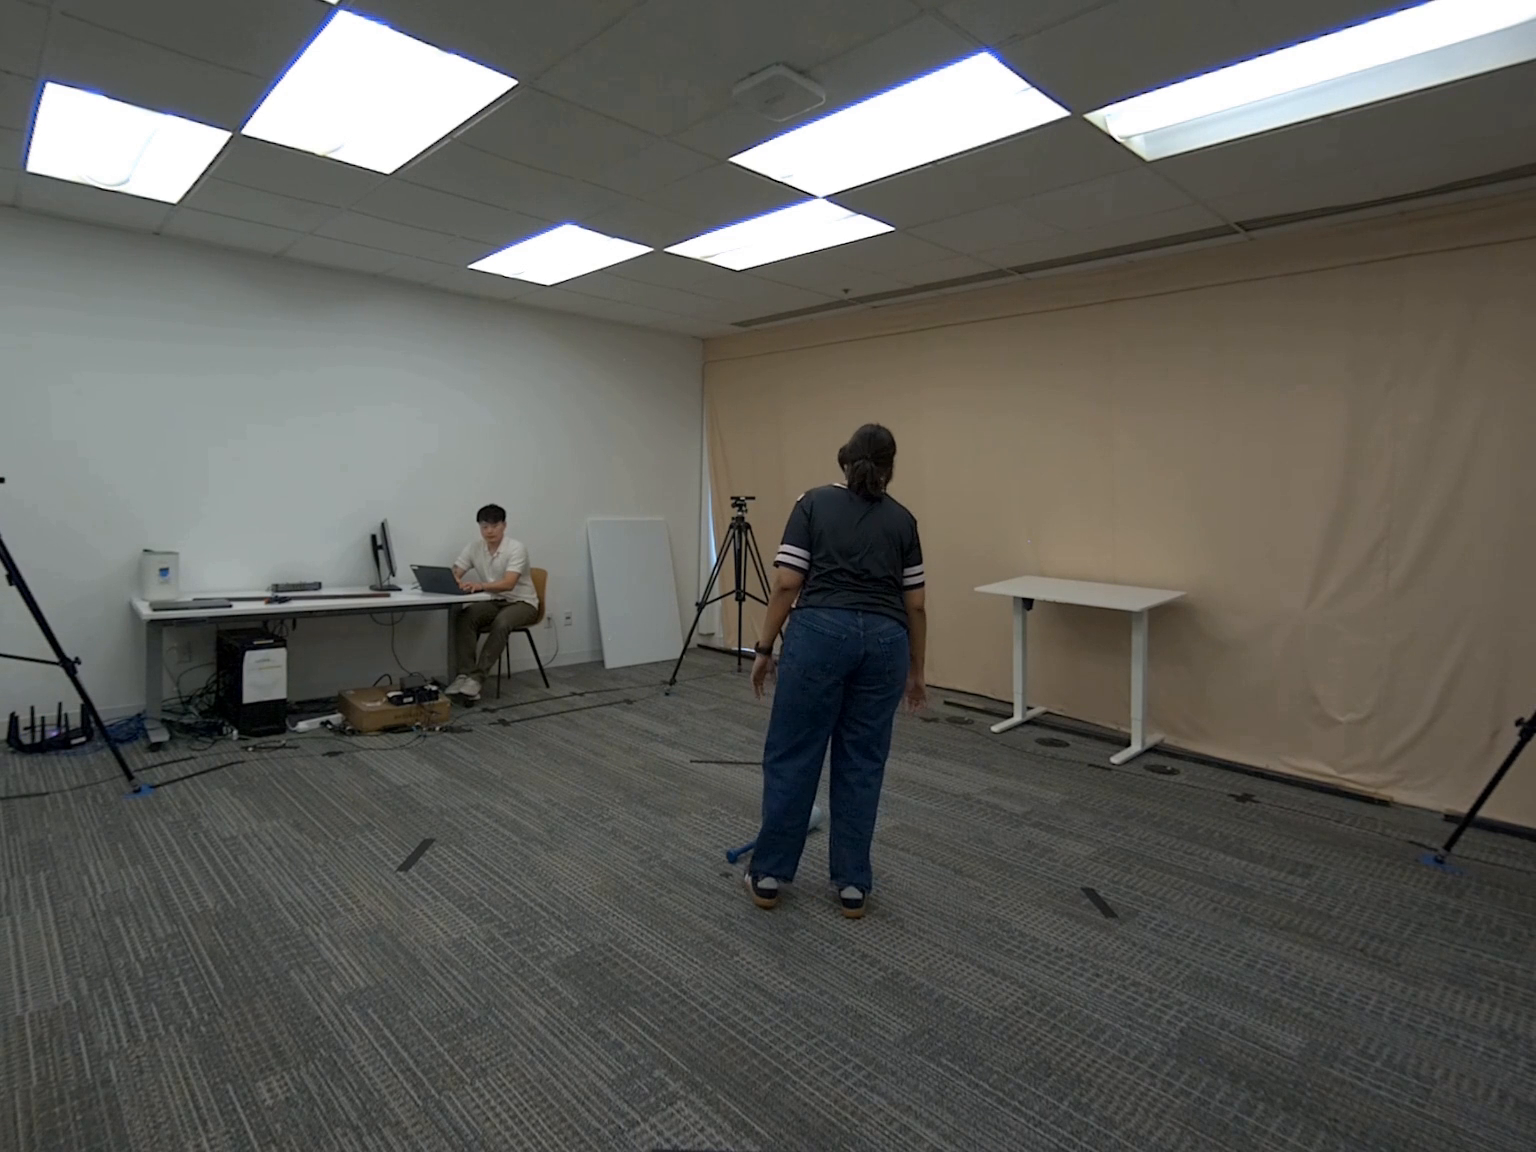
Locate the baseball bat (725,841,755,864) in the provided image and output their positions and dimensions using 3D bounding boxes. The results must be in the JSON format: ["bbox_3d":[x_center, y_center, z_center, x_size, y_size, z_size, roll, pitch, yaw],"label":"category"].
[{"bbox_3d":[0.025,1.049,3.402,0.091,0.089,0.531,5,9,42],"label":"baseball bat"}]
